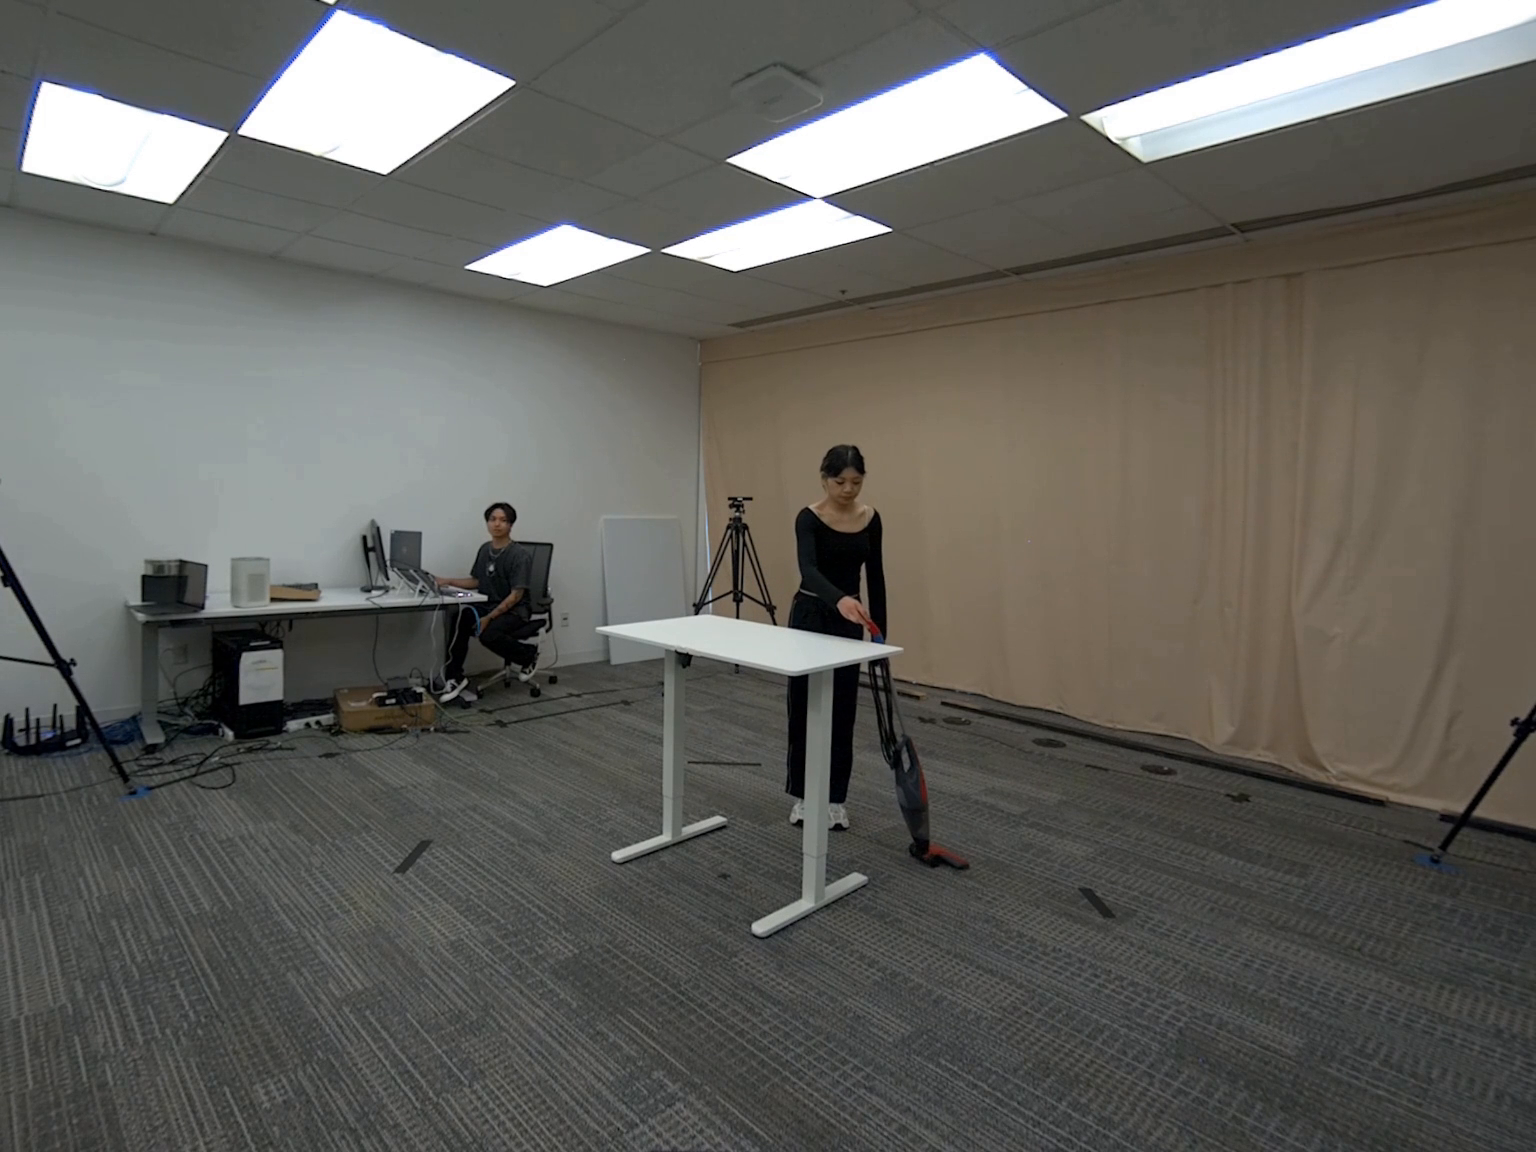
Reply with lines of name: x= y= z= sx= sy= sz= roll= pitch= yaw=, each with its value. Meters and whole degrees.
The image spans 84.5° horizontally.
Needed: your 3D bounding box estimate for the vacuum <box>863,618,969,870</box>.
vacuum: x=0.491 y=0.631 z=3.182 sx=0.142 sy=1.035 sz=0.258 roll=-25 pitch=16 yaw=-26
